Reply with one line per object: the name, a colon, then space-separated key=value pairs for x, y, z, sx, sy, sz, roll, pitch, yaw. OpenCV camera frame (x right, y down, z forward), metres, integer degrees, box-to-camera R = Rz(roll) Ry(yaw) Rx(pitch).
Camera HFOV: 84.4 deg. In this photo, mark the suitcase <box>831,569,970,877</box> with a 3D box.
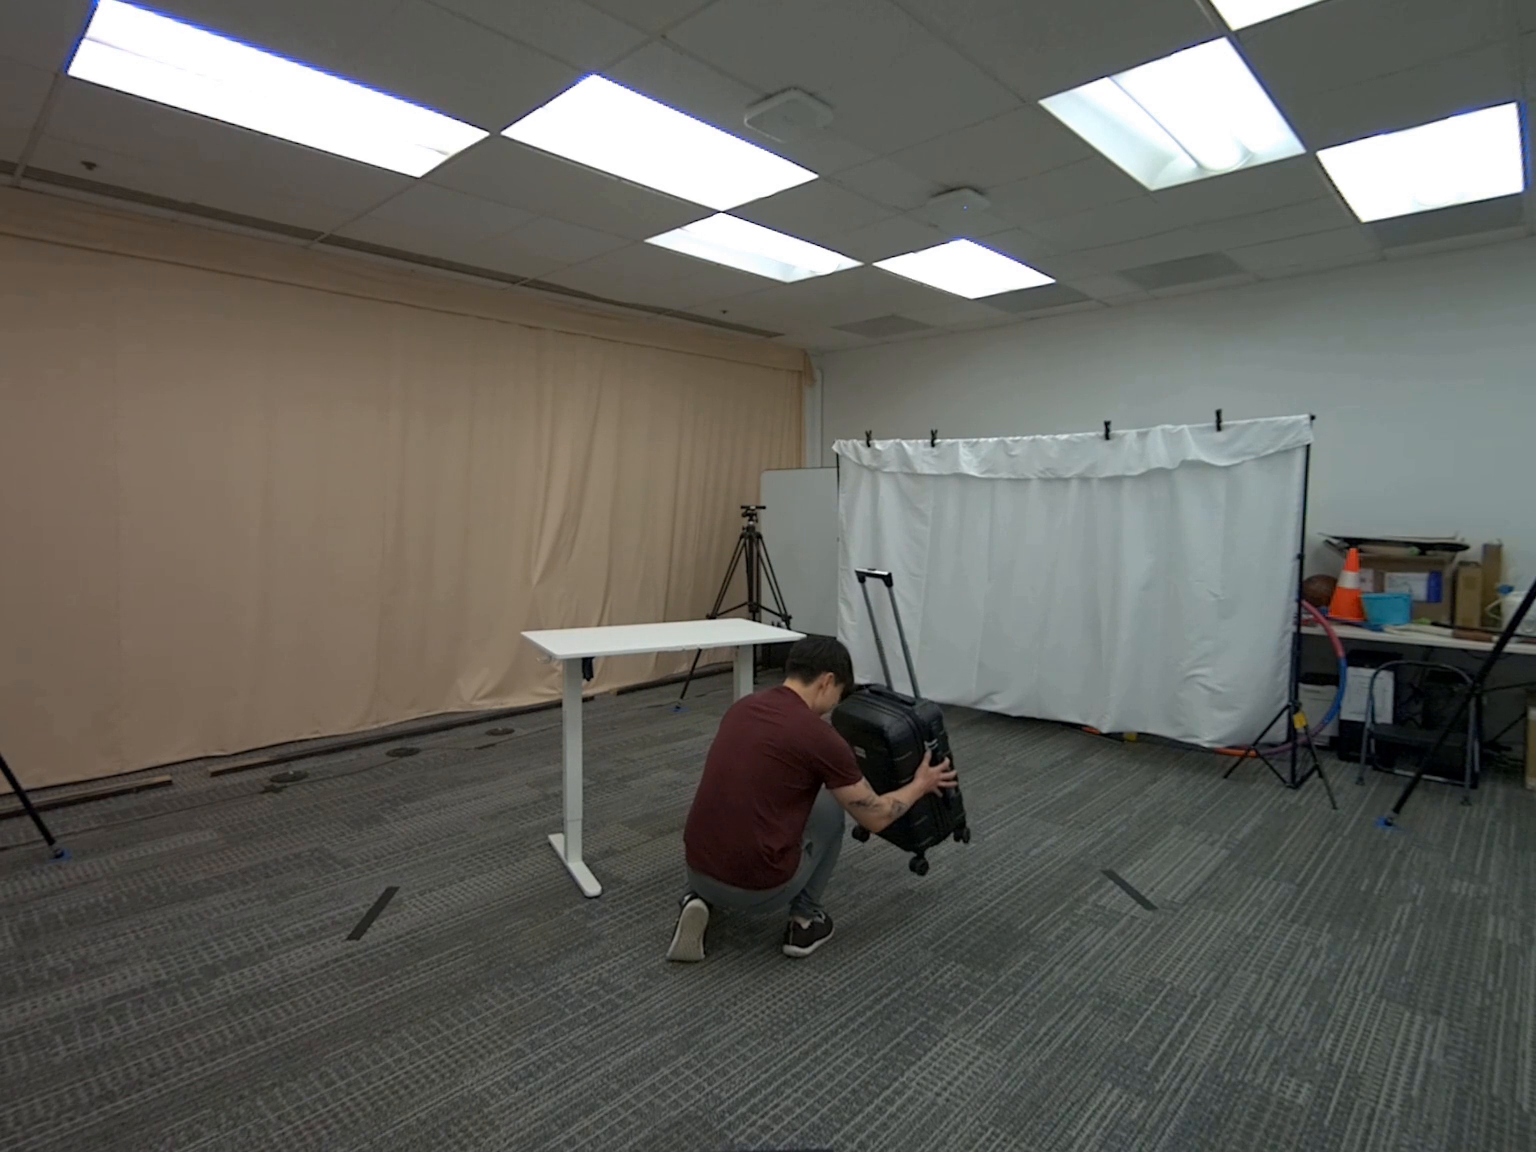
suitcase: x=0.409 y=0.480 z=2.861 sx=0.252 sy=0.967 sz=0.396 roll=-22 pitch=16 yaw=-29
